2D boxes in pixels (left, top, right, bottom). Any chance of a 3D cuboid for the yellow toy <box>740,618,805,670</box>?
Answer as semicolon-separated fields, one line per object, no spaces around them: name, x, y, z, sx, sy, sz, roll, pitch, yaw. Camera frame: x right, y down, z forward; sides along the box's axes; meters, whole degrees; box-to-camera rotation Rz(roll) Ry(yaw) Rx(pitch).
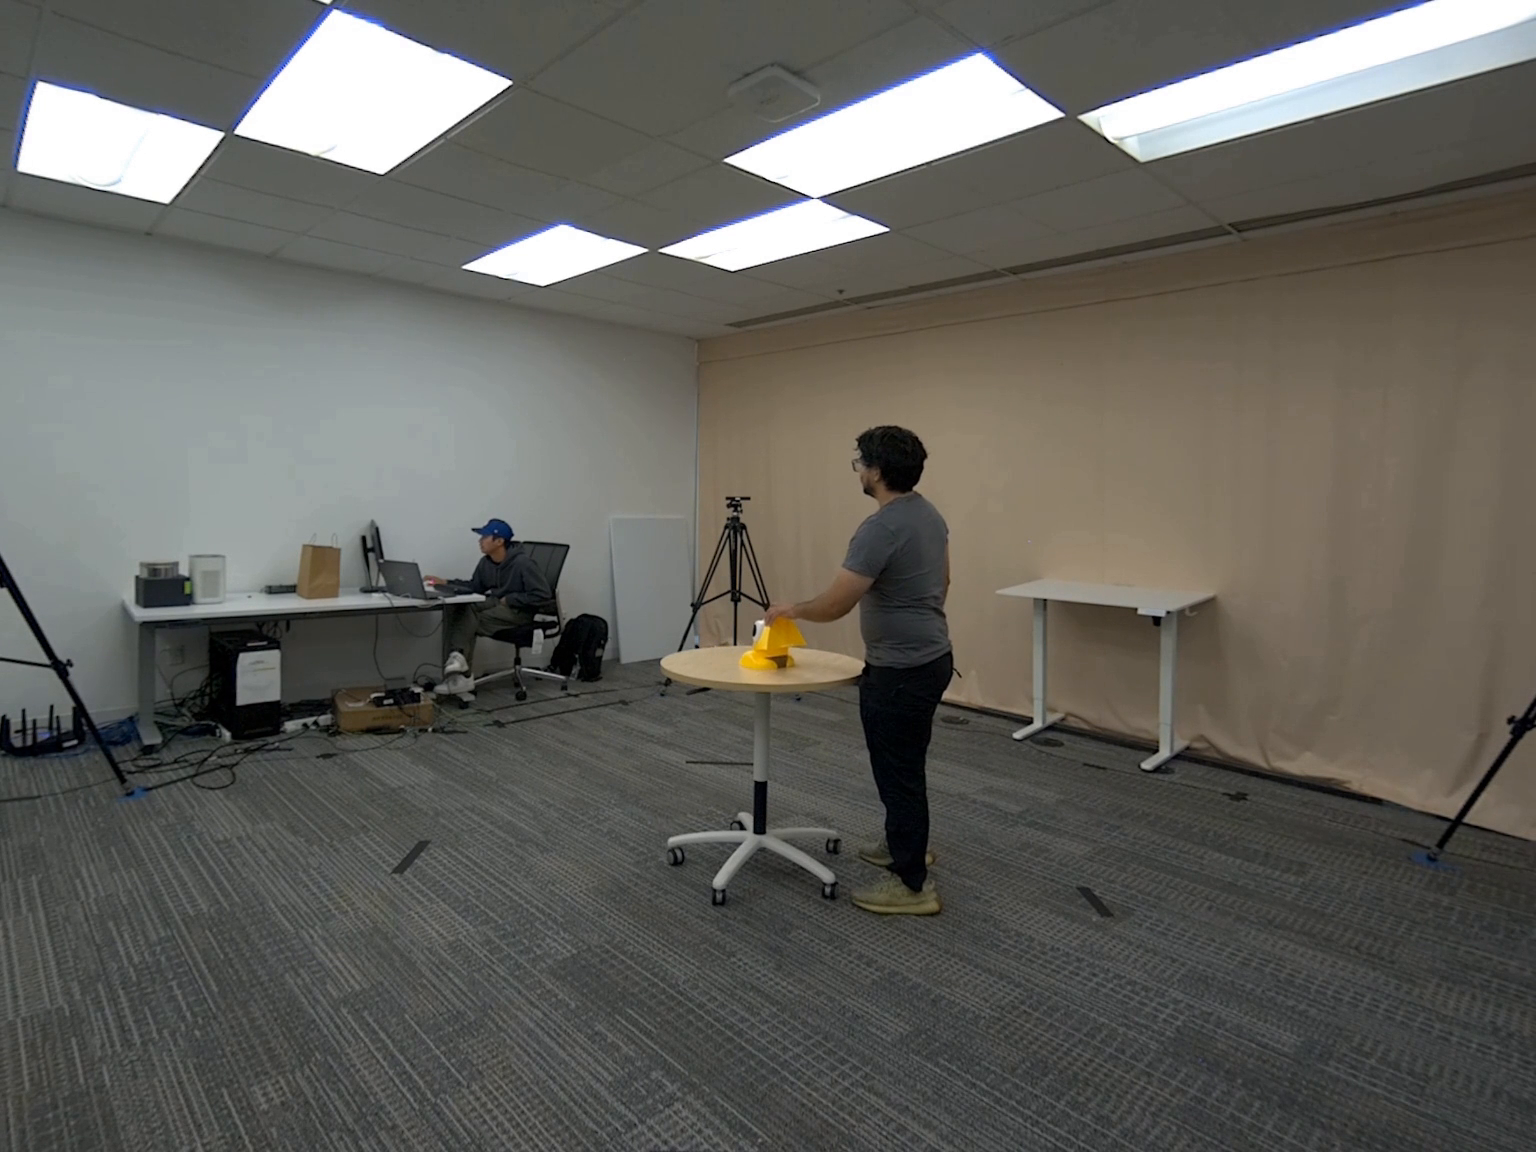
yellow toy;-0.002;0.213;3.088;0.200;0.230;0.198;-2;4;-42
